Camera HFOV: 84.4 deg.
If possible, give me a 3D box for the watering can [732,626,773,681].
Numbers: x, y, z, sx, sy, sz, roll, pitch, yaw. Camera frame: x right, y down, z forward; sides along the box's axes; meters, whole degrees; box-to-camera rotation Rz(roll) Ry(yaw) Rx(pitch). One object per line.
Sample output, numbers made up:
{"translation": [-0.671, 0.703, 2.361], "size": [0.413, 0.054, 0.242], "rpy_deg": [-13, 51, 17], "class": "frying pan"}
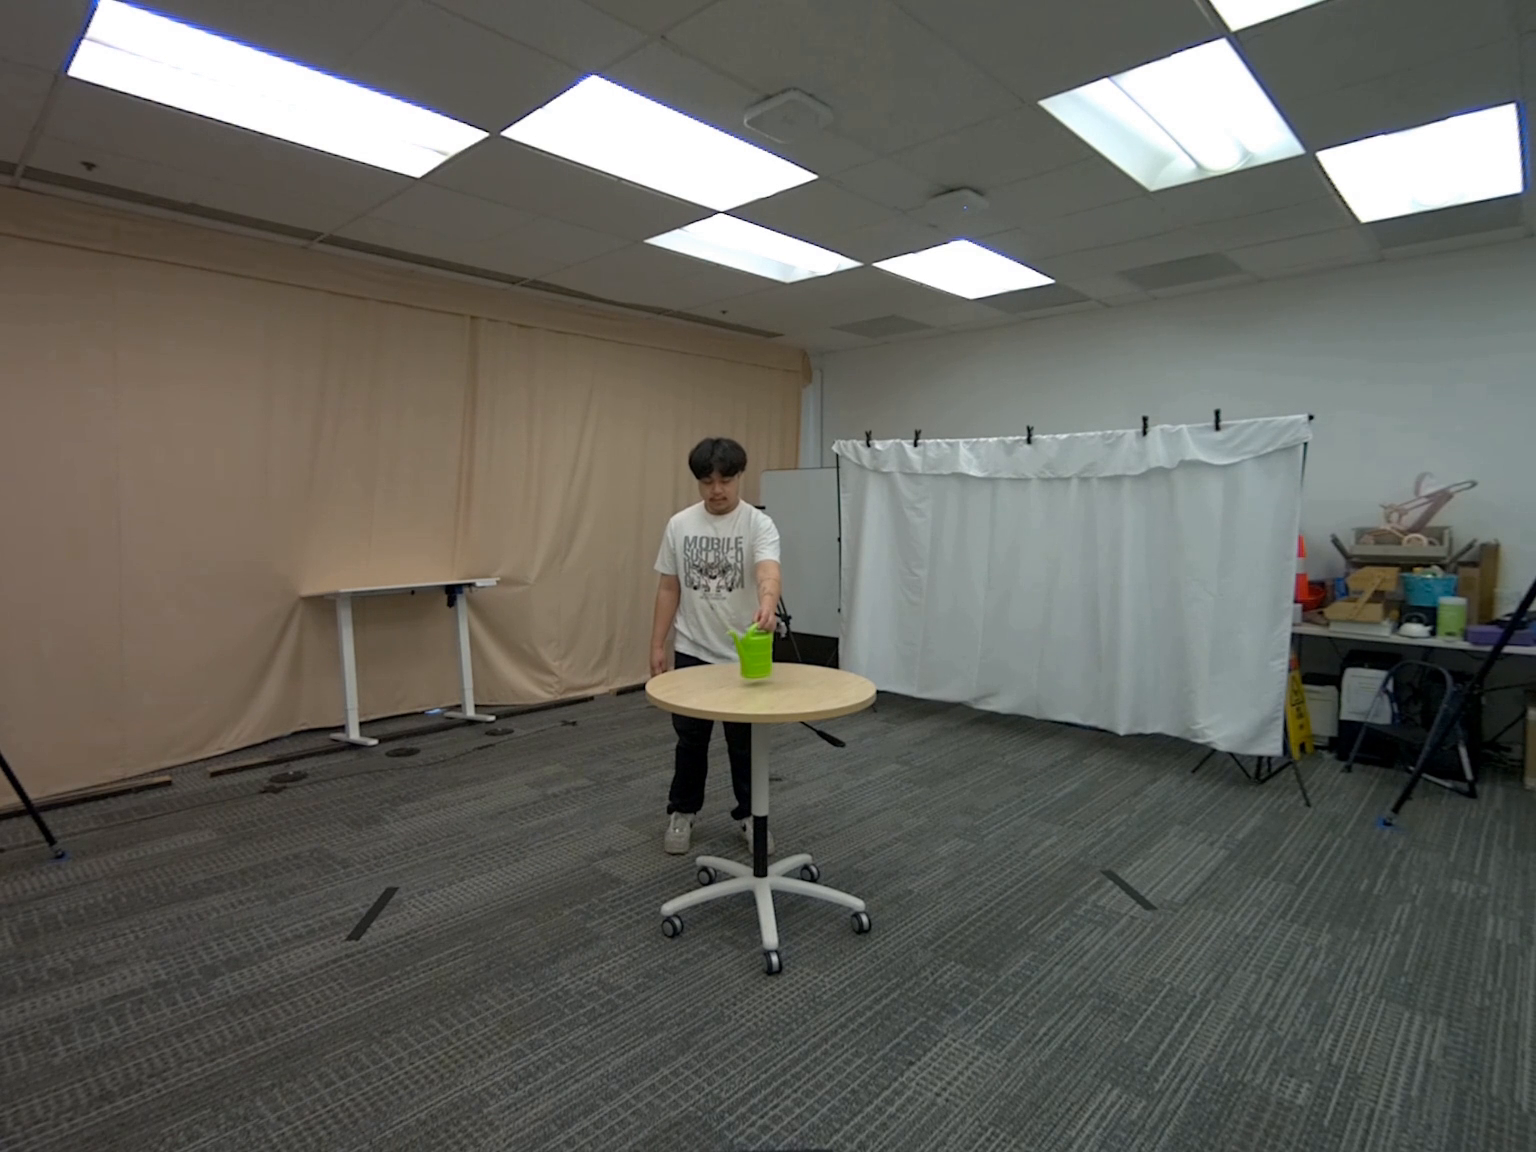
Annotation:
{"translation": [-0.062, 0.245, 2.784], "size": [0.101, 0.176, 0.269], "rpy_deg": [7, 7, 43], "class": "watering can"}
